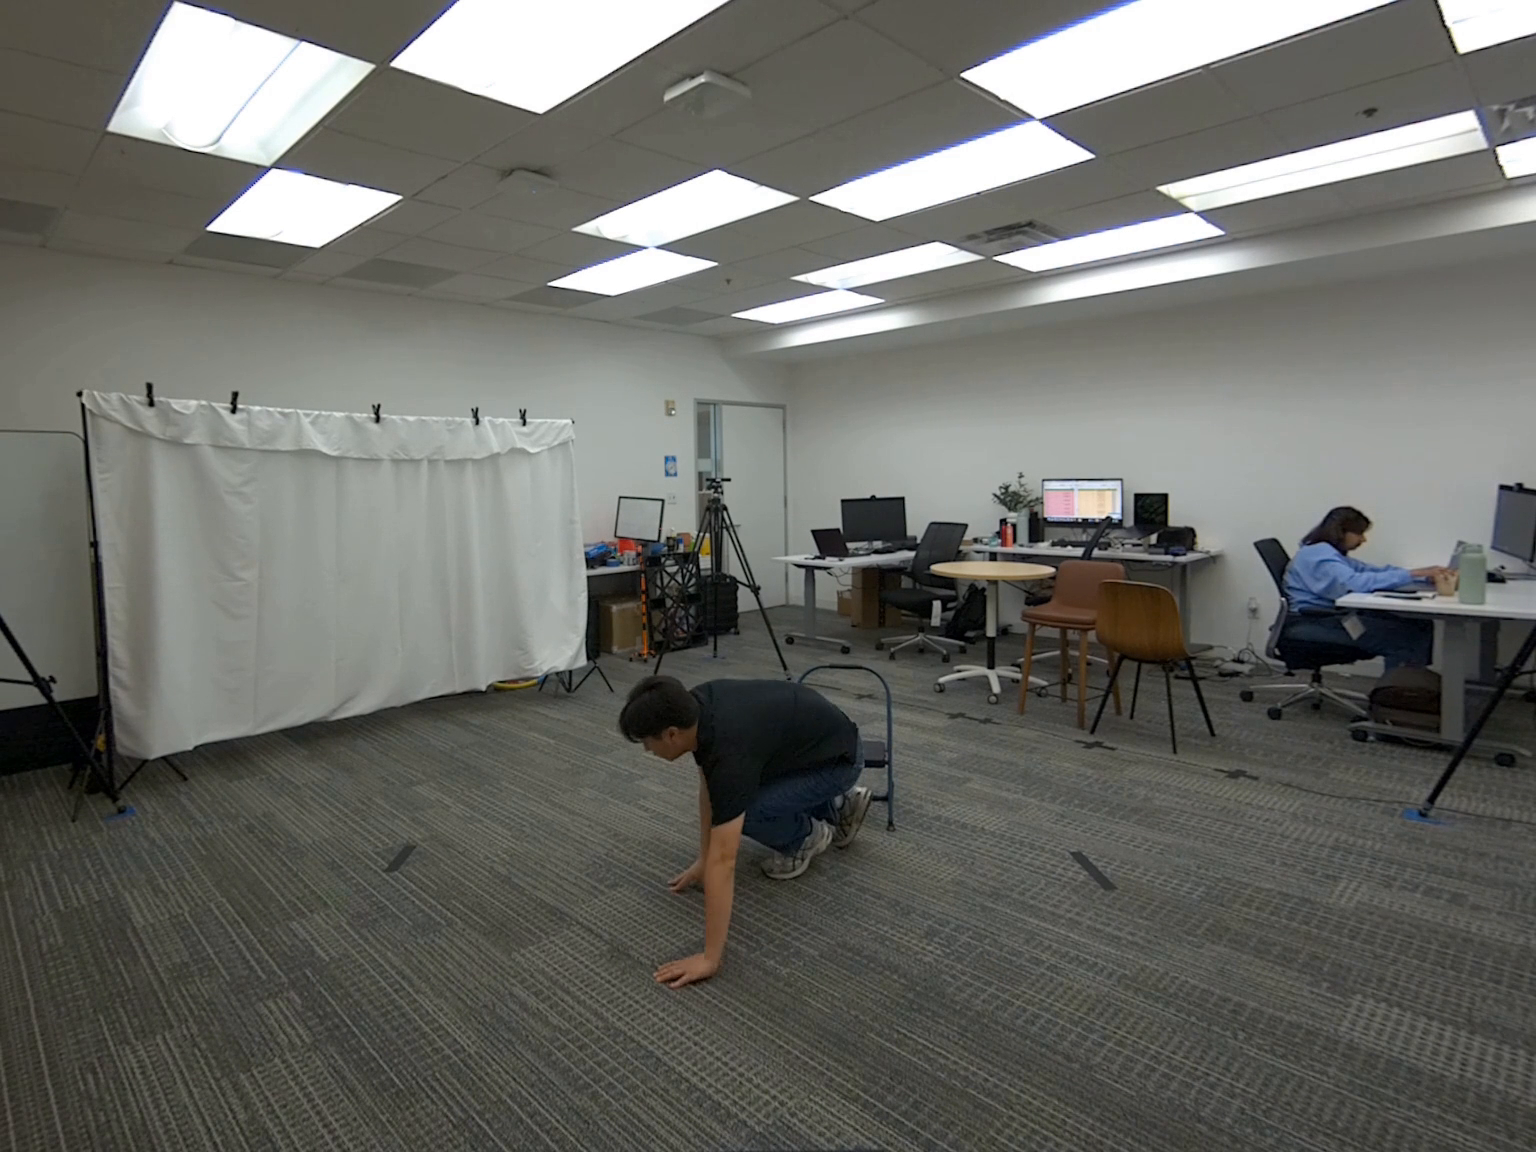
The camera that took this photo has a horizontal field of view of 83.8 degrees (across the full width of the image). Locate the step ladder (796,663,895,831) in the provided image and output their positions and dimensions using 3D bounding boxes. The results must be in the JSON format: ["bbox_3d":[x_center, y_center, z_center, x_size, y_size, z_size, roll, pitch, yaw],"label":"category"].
[{"bbox_3d":[0.316,0.686,3.556,0.435,0.604,0.347,0,5,9],"label":"step ladder"}]
